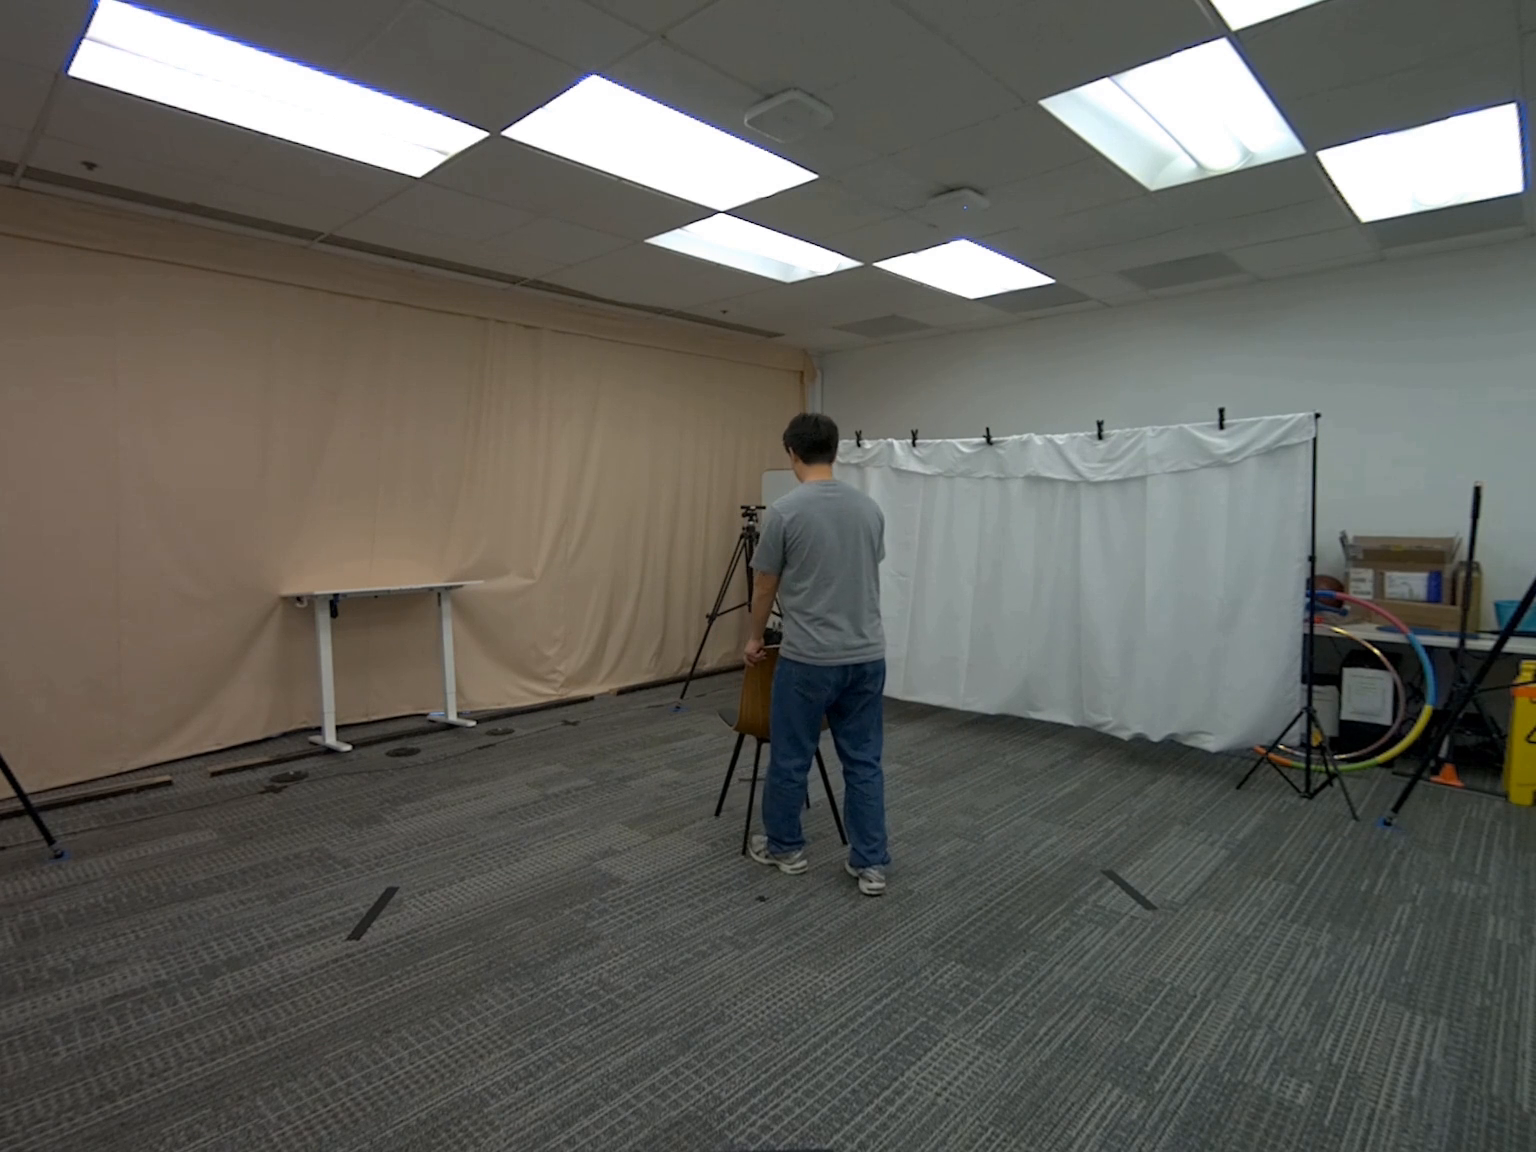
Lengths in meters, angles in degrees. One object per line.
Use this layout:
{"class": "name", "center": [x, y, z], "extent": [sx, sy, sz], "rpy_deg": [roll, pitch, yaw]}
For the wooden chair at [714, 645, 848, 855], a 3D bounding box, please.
{"class": "wooden chair", "center": [0.037, 0.662, 3.600], "extent": [0.471, 0.873, 0.534], "rpy_deg": [-1, 8, -16]}
